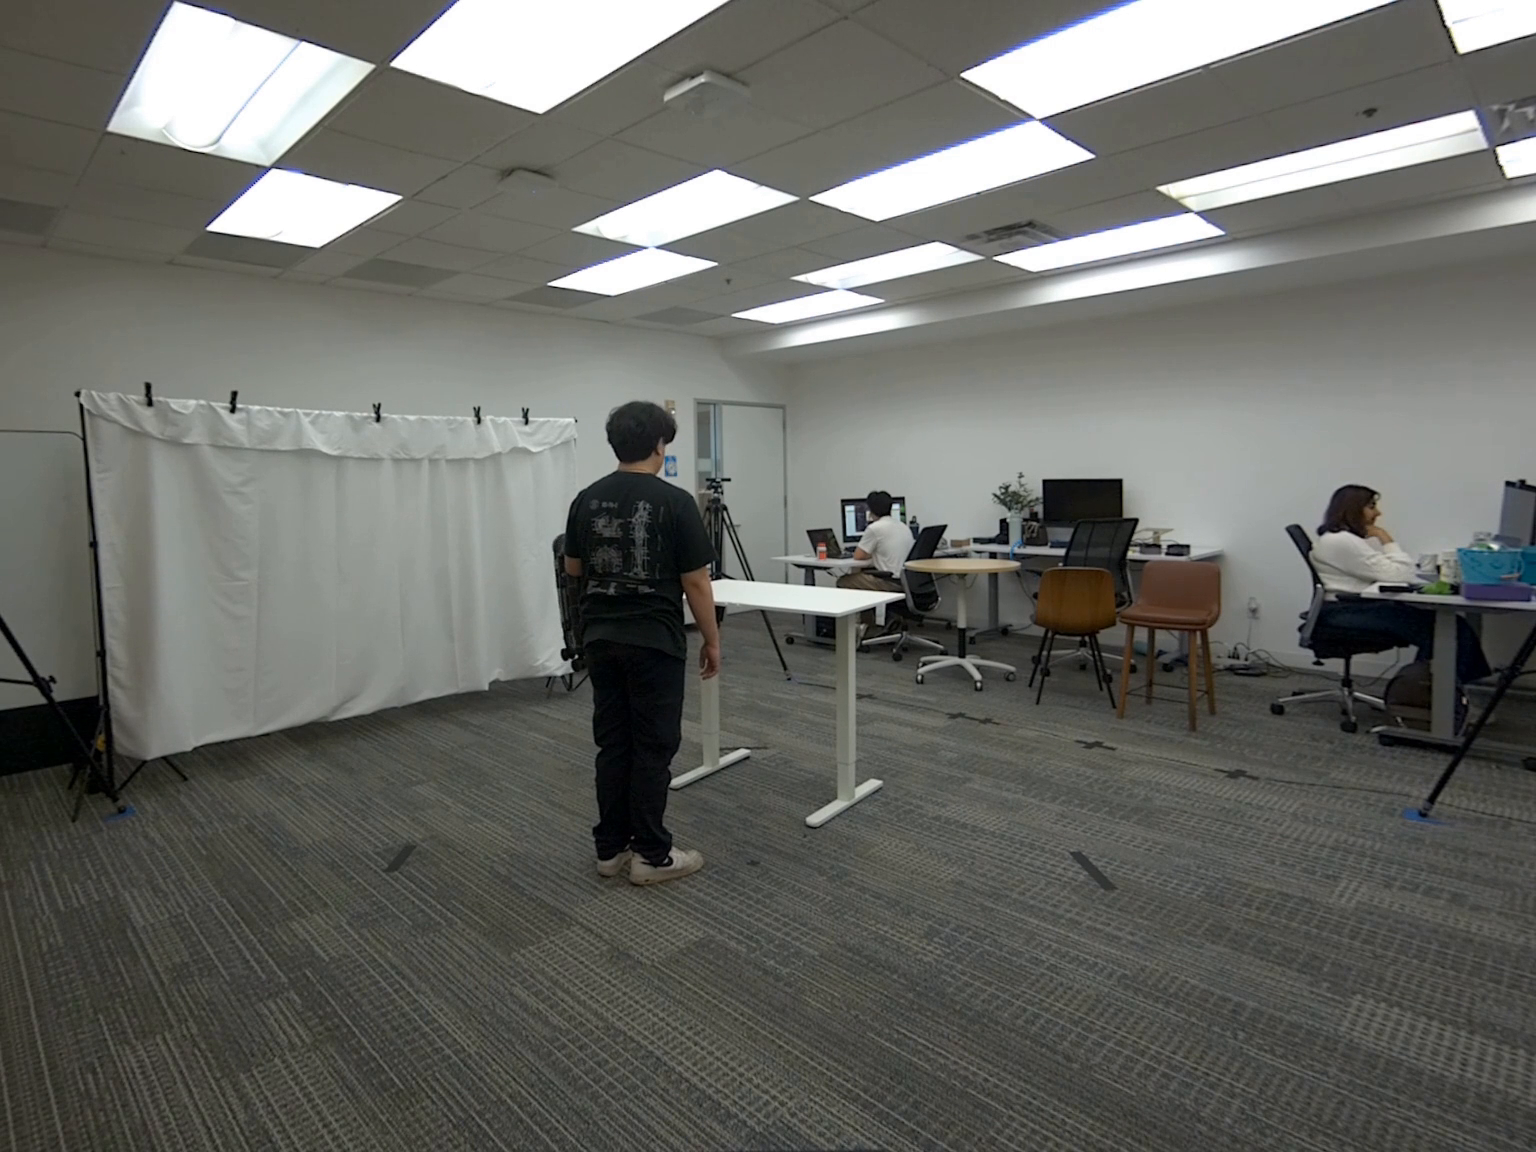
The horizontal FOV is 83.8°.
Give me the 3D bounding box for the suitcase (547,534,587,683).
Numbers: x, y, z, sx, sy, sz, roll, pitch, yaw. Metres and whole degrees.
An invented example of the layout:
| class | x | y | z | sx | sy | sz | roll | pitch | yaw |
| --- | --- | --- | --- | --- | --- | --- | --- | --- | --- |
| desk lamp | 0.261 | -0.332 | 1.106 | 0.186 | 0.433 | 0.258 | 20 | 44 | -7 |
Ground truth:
| class | x | y | z | sx | sy | sz | roll | pitch | yaw |
| --- | --- | --- | --- | --- | --- | --- | --- | --- | --- |
| suitcase | -0.673 | 0.067 | 3.485 | 0.369 | 0.545 | 0.254 | -10 | 8 | -23 |
